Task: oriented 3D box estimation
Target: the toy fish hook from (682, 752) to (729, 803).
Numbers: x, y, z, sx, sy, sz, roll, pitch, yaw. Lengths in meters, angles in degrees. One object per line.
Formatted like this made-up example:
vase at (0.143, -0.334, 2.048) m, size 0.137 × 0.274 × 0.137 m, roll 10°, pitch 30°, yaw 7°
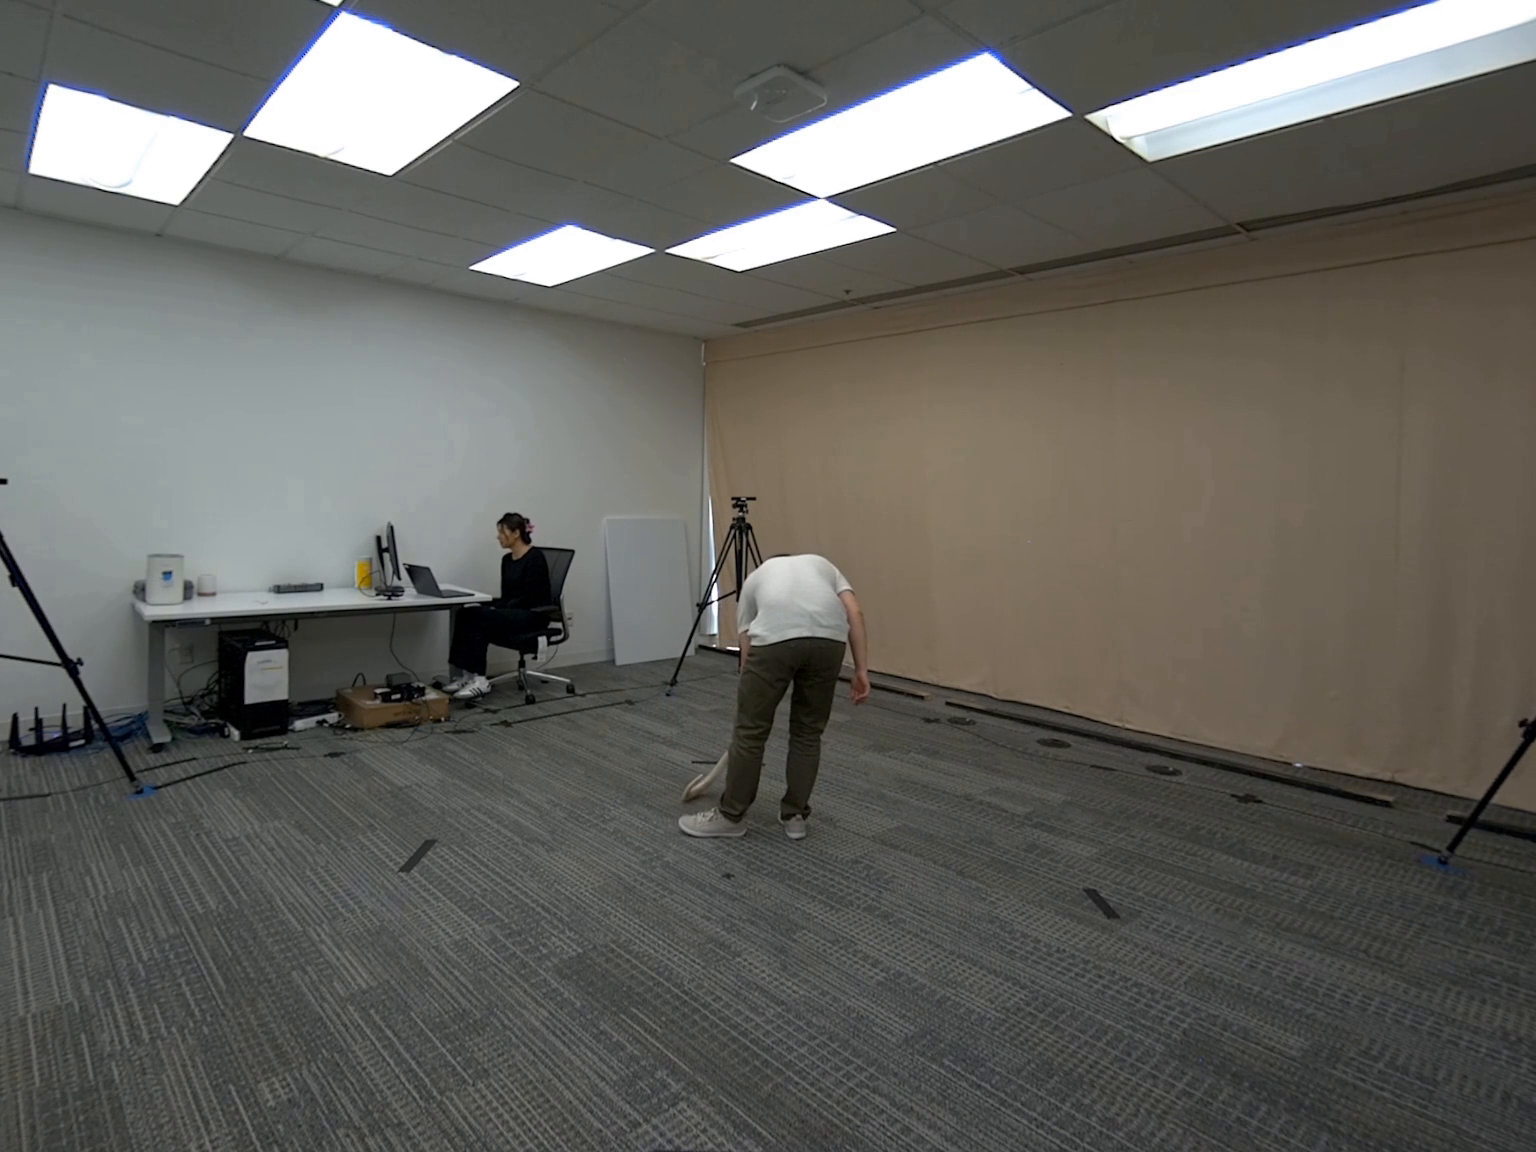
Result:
toy fish hook at (-0.232, 0.842, 3.809) m, size 0.049 × 0.505 × 0.221 m, roll 43°, pitch 20°, yaw 15°
